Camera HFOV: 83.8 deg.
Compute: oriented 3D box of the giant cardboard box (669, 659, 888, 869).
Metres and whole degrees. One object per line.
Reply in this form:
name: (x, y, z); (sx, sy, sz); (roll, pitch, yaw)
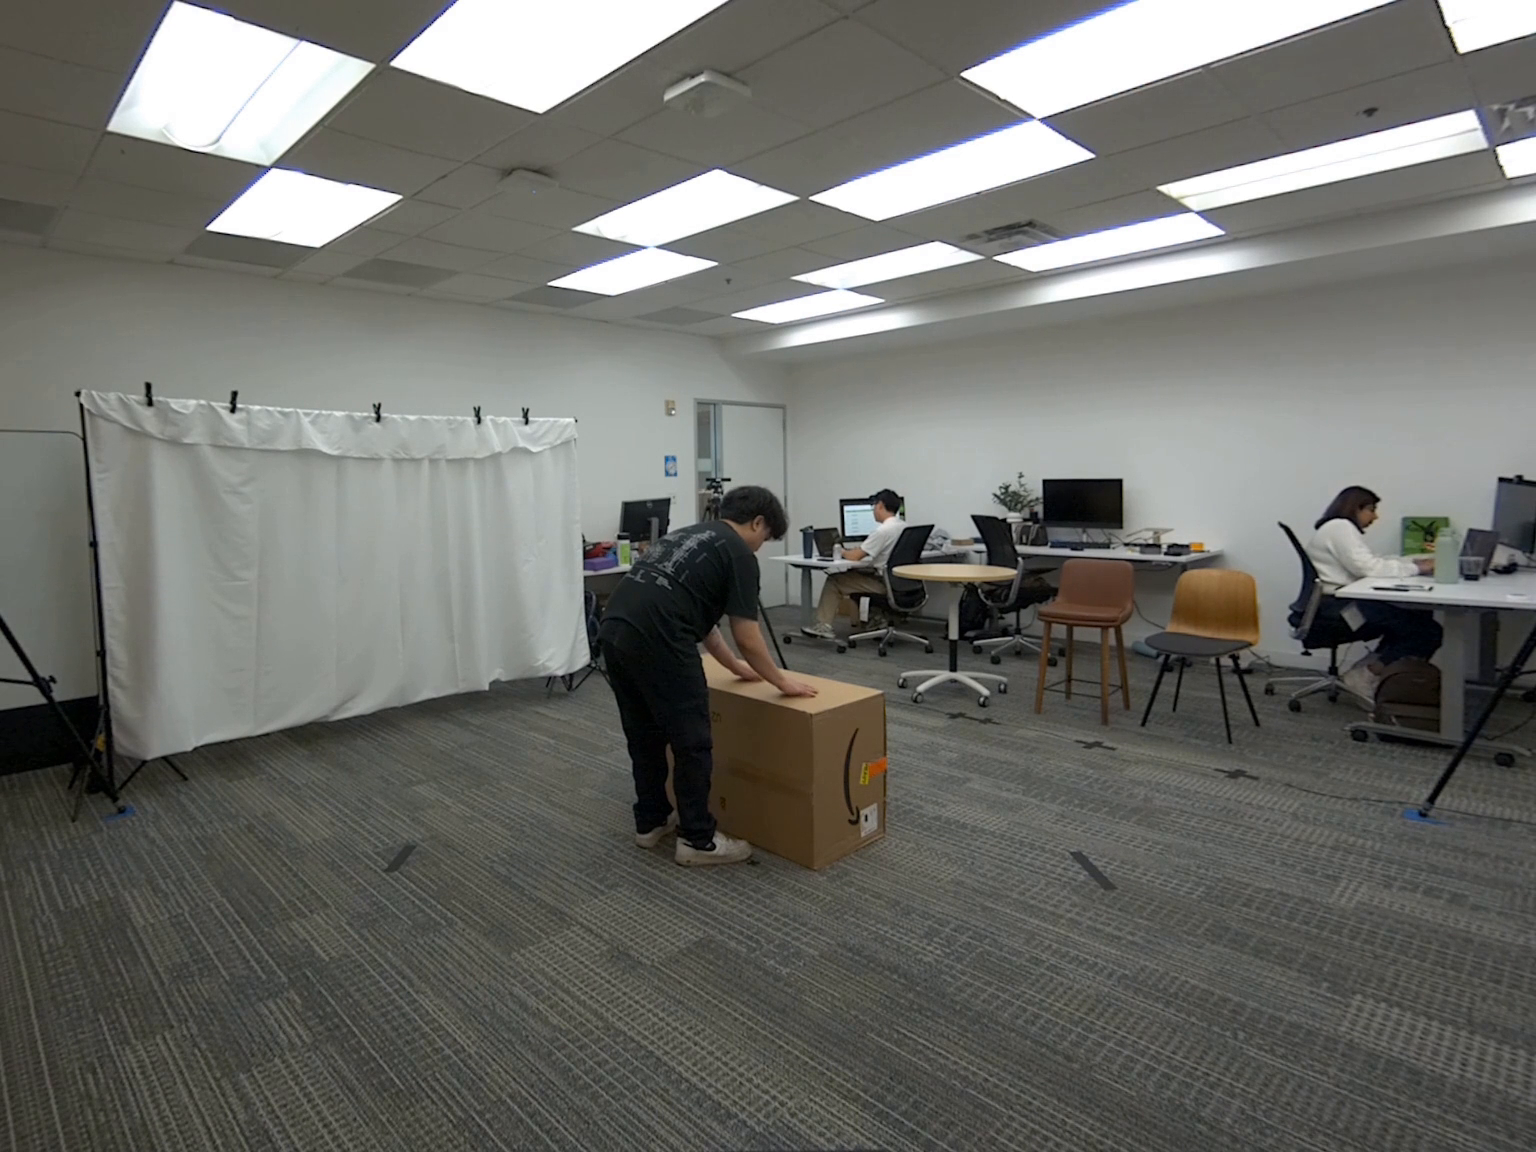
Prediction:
giant cardboard box: (-0.054, 0.709, 3.531); (0.435, 0.582, 1.059); (-4, 7, -44)
